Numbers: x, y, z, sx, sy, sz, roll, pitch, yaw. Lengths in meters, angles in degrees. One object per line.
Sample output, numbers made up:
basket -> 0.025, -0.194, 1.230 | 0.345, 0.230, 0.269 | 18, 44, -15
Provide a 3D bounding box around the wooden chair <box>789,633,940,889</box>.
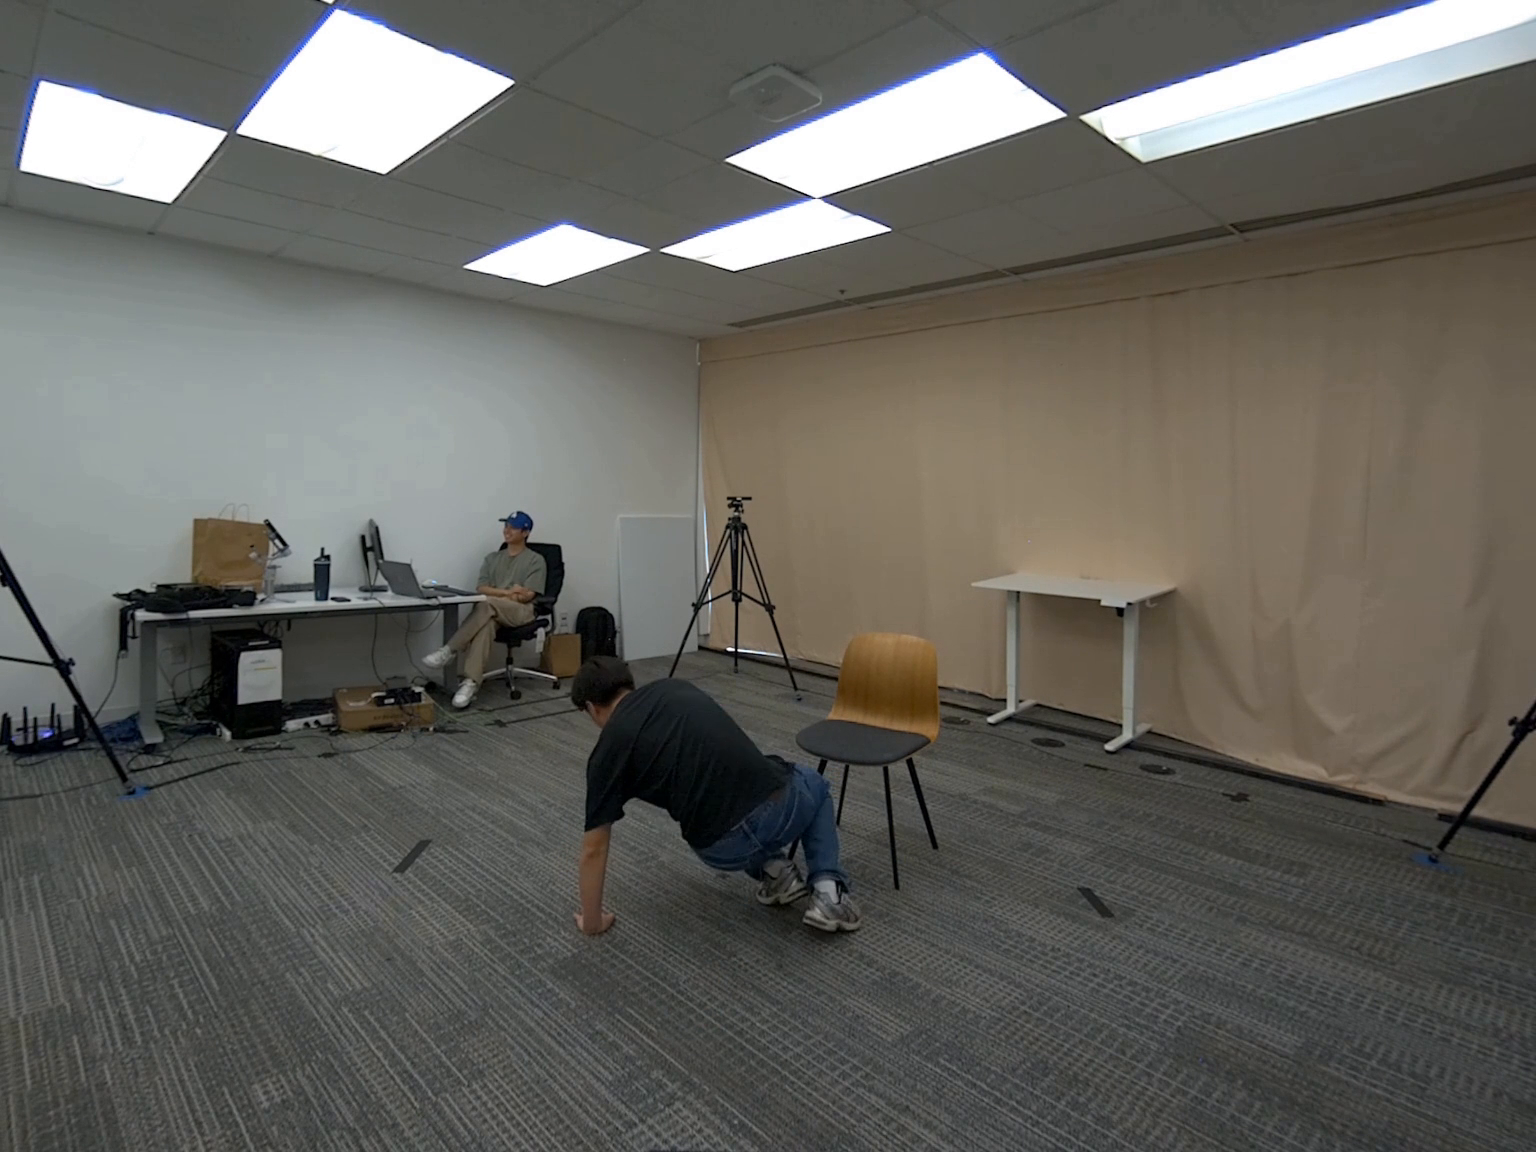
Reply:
wooden chair -> 0.384, 0.676, 3.293 | 0.489, 0.878, 0.511 | 4, 0, 31
